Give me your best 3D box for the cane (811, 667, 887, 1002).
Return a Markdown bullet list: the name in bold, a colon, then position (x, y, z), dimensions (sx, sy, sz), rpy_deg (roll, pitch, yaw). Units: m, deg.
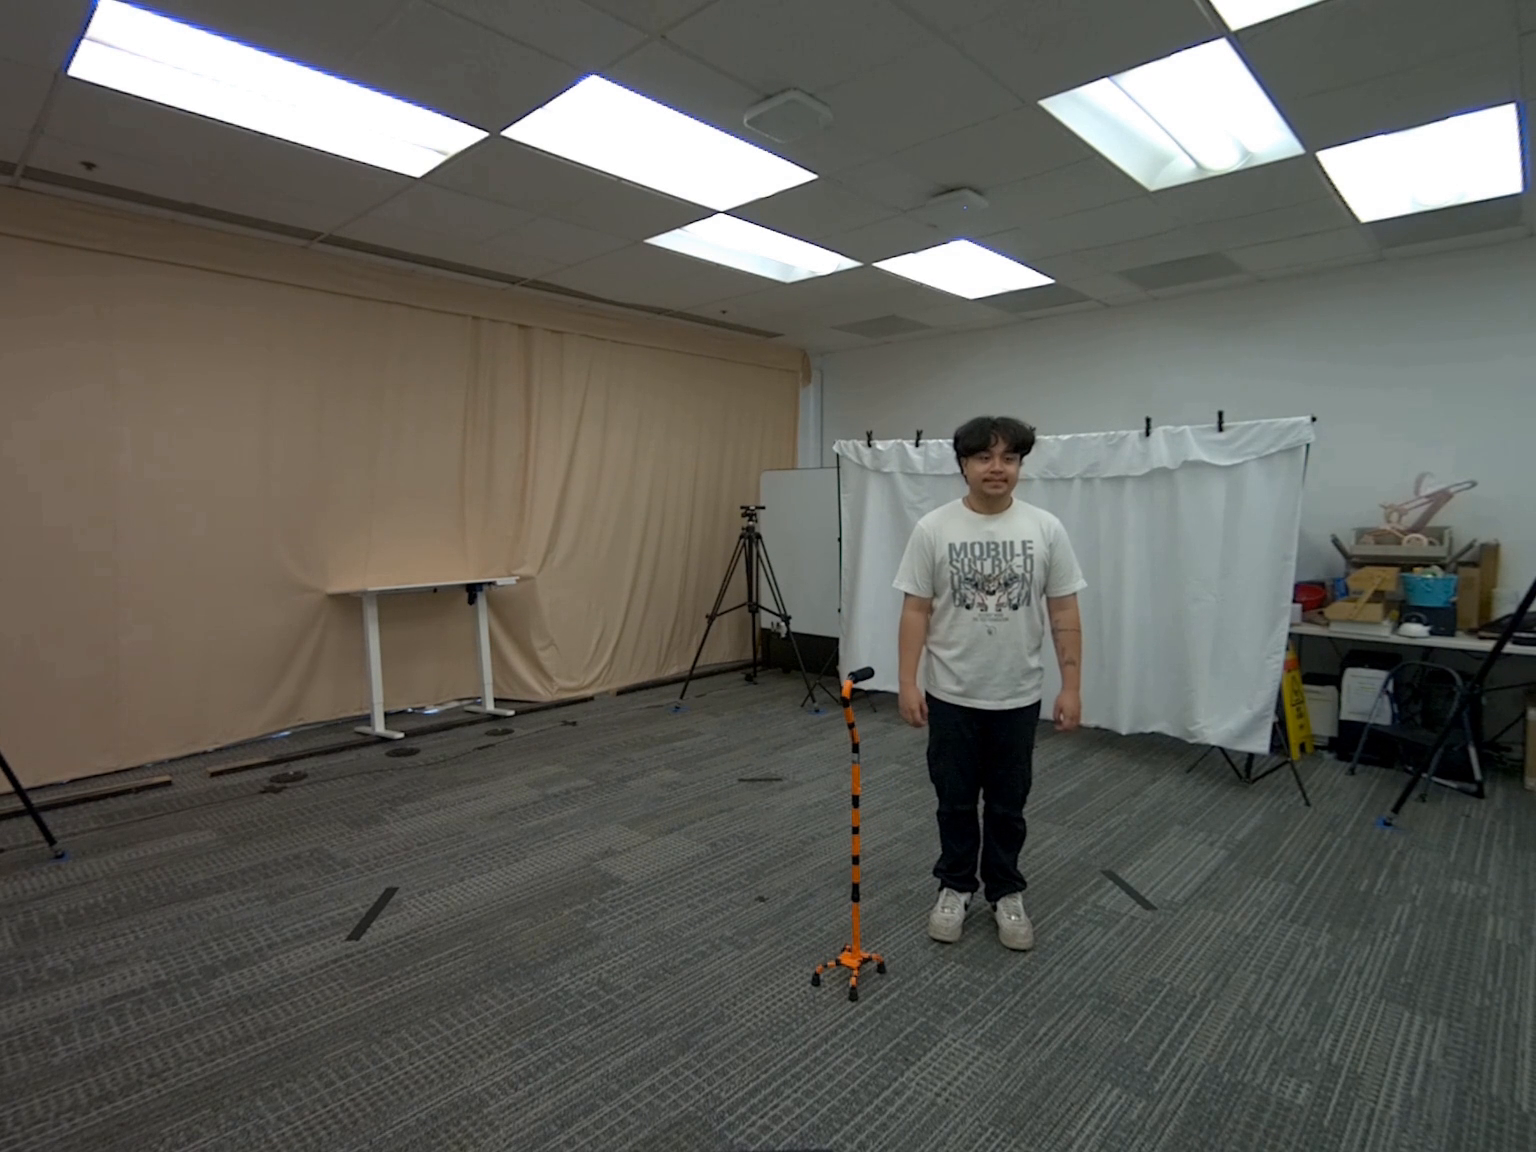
- **cane**: position (0.244, 0.736, 2.459), dimensions (0.156, 0.906, 0.200), rpy_deg (2, 4, 38)
